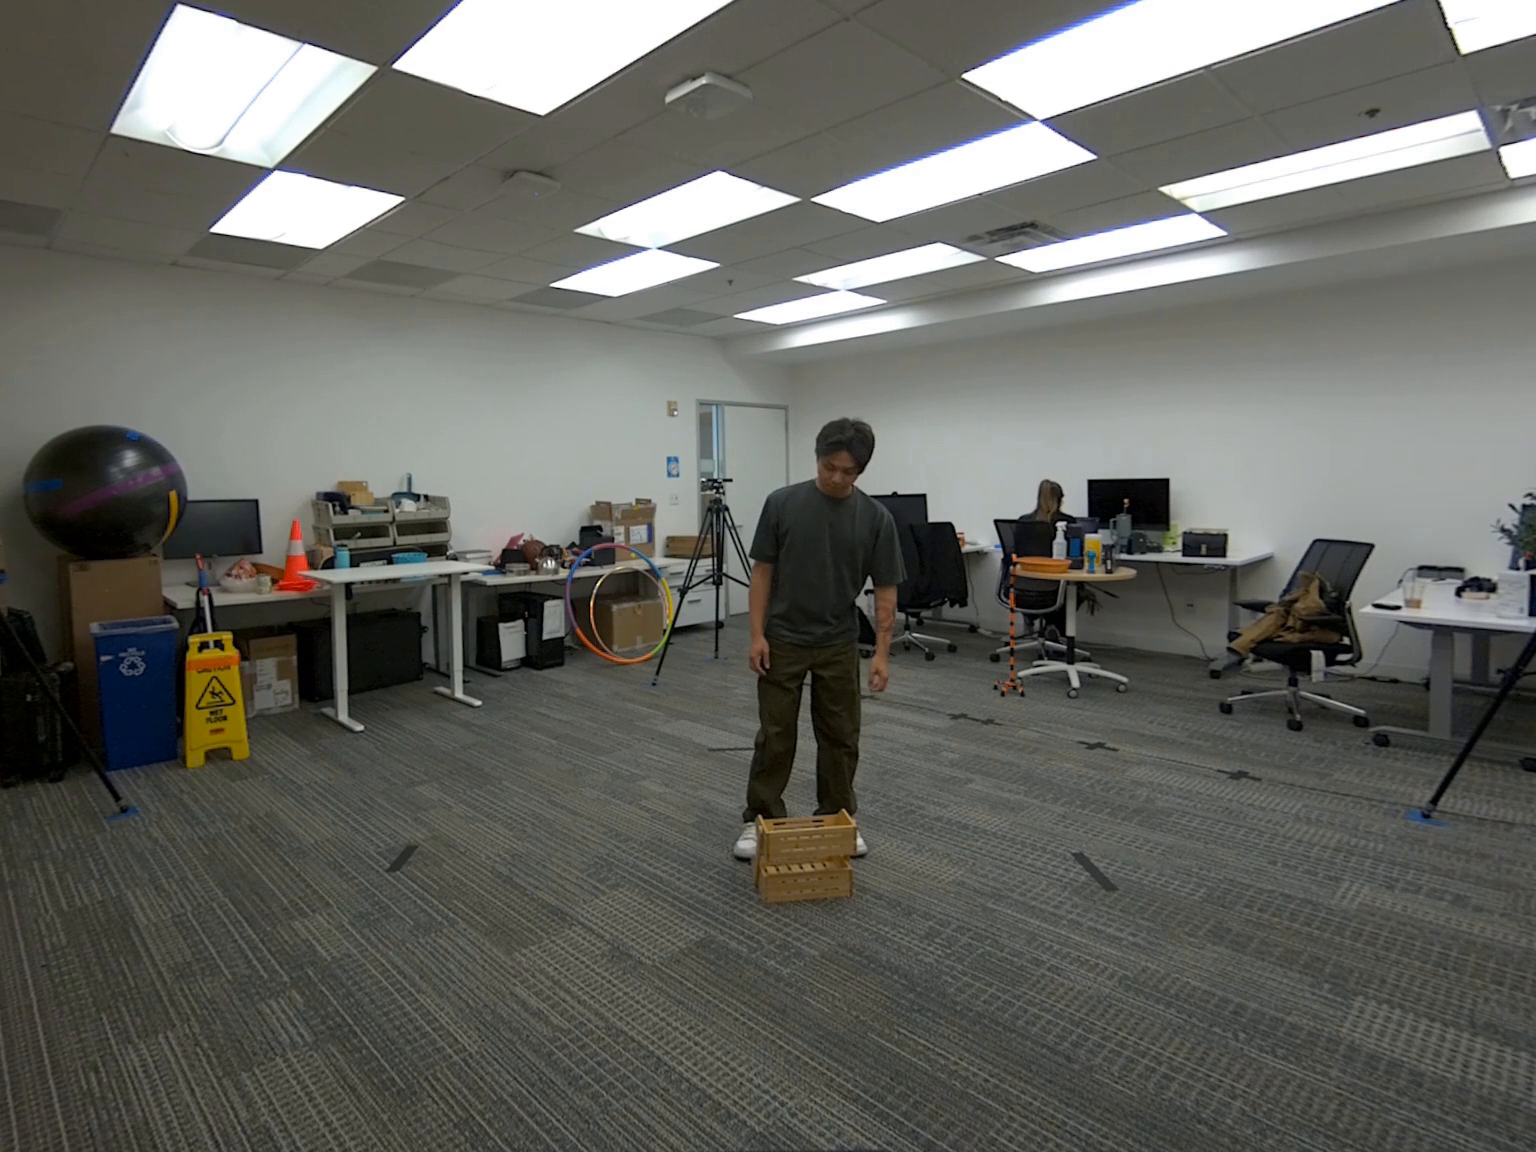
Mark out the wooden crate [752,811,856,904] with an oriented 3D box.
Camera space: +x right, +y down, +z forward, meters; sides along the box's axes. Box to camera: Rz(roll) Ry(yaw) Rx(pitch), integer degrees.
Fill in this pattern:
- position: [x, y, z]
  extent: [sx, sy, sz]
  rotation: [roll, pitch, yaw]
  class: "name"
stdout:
- position: [0.119, 0.940, 2.914]
  extent: [0.322, 0.272, 0.306]
  rotation: [-2, 7, -9]
  class: "wooden crate"
